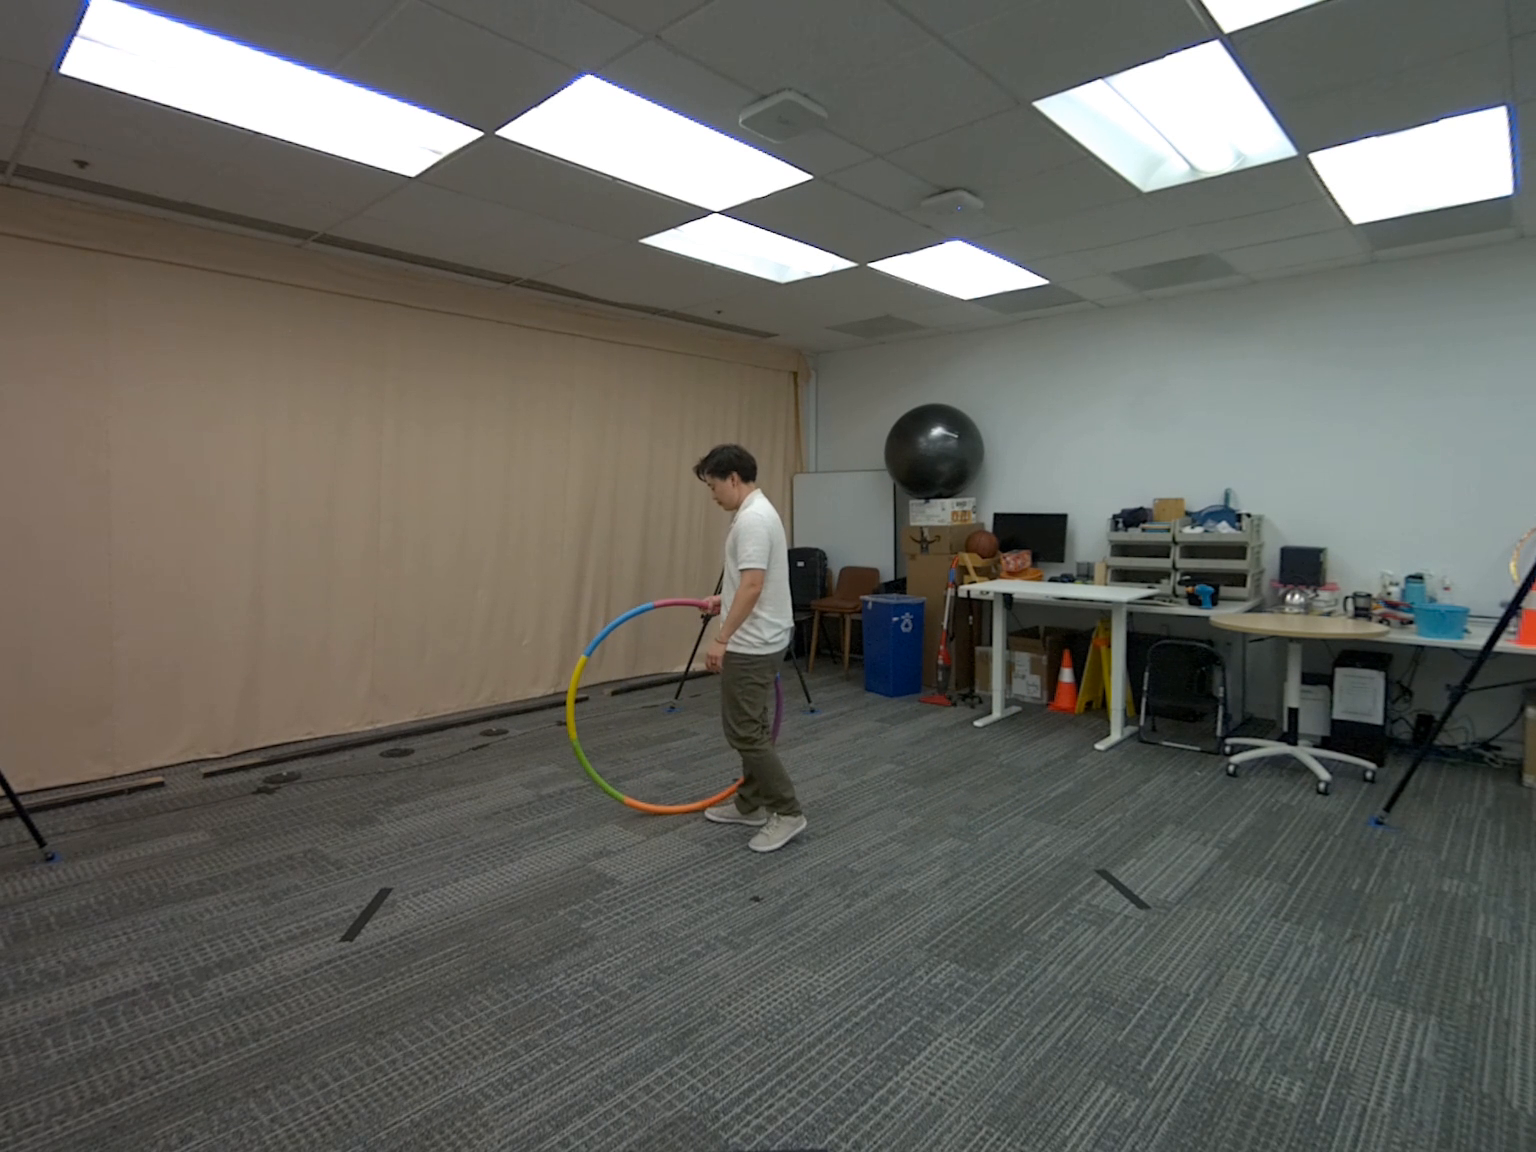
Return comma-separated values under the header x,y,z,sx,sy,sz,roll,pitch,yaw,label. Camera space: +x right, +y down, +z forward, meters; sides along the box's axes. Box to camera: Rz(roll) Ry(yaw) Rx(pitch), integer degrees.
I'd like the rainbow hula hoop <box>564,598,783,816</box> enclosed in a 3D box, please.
x,y,z,sx,sy,sz,roll,pitch,yaw,label
-0.408,0.594,3.794,0.966,0.975,0.036,-1,5,-12,rainbow hula hoop
